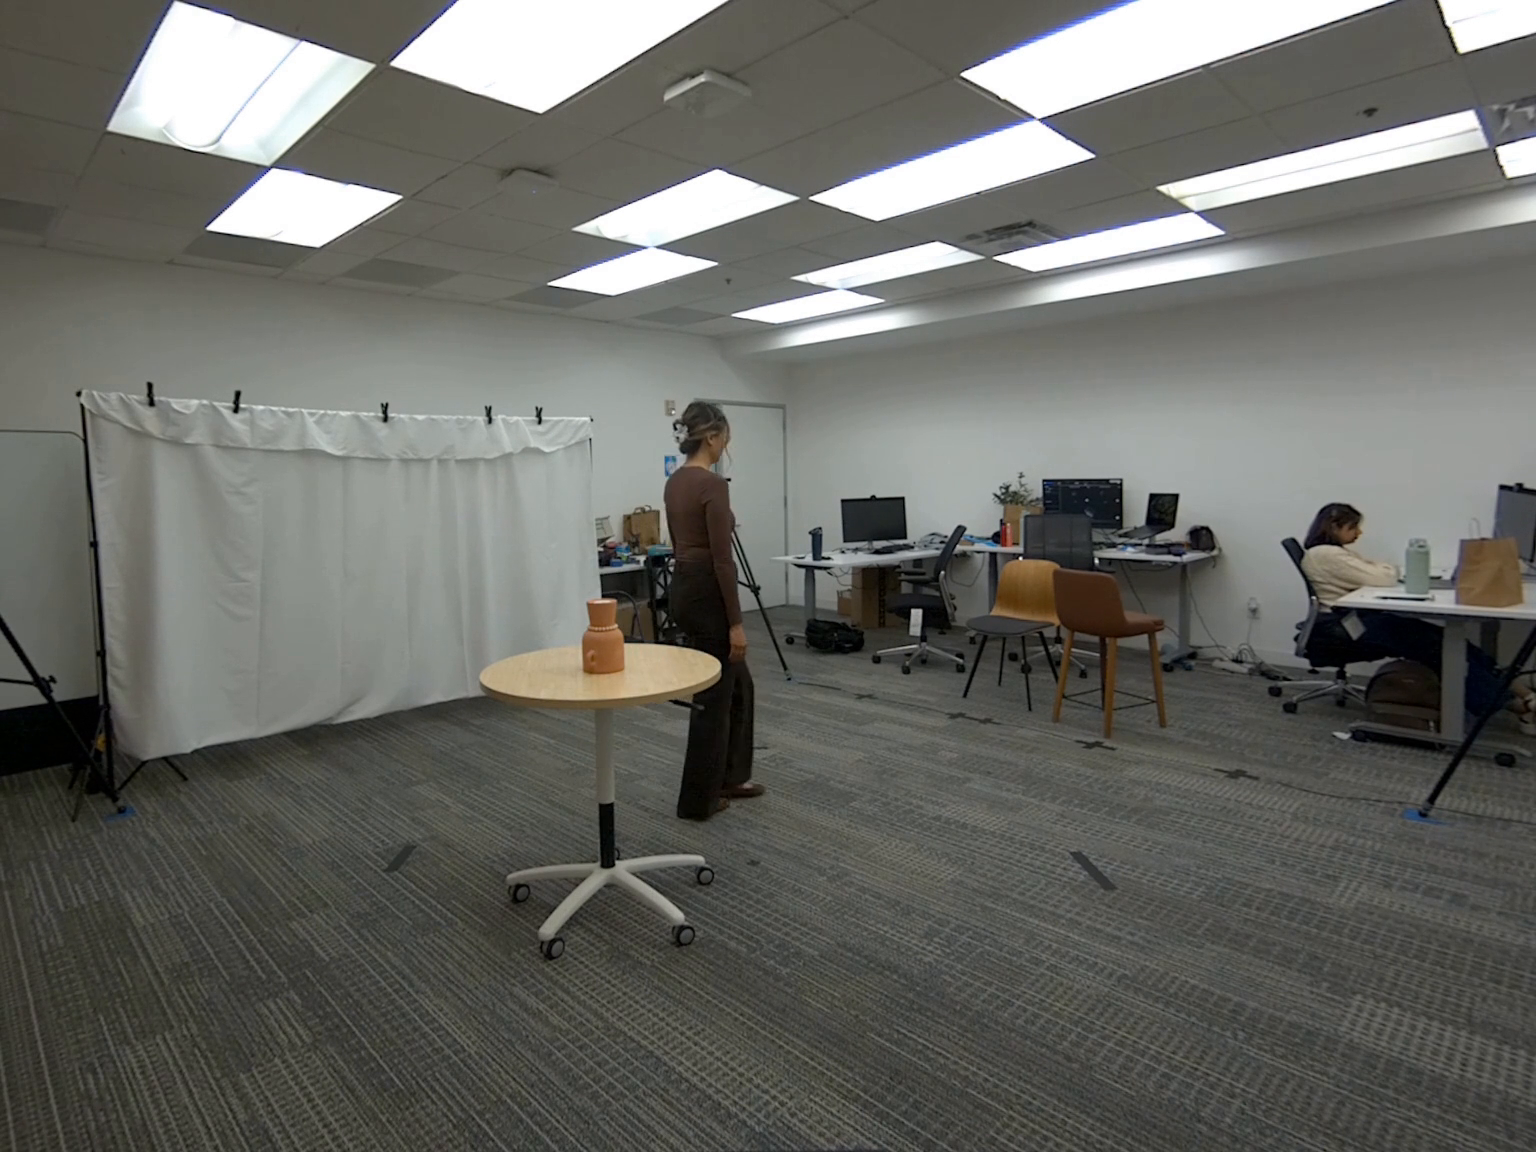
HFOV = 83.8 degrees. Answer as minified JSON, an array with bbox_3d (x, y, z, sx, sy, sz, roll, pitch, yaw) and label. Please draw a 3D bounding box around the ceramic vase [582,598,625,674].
[{"bbox_3d":[-0.524,0.189,2.719,0.132,0.219,0.162,-3,5,-19],"label":"ceramic vase"}]
